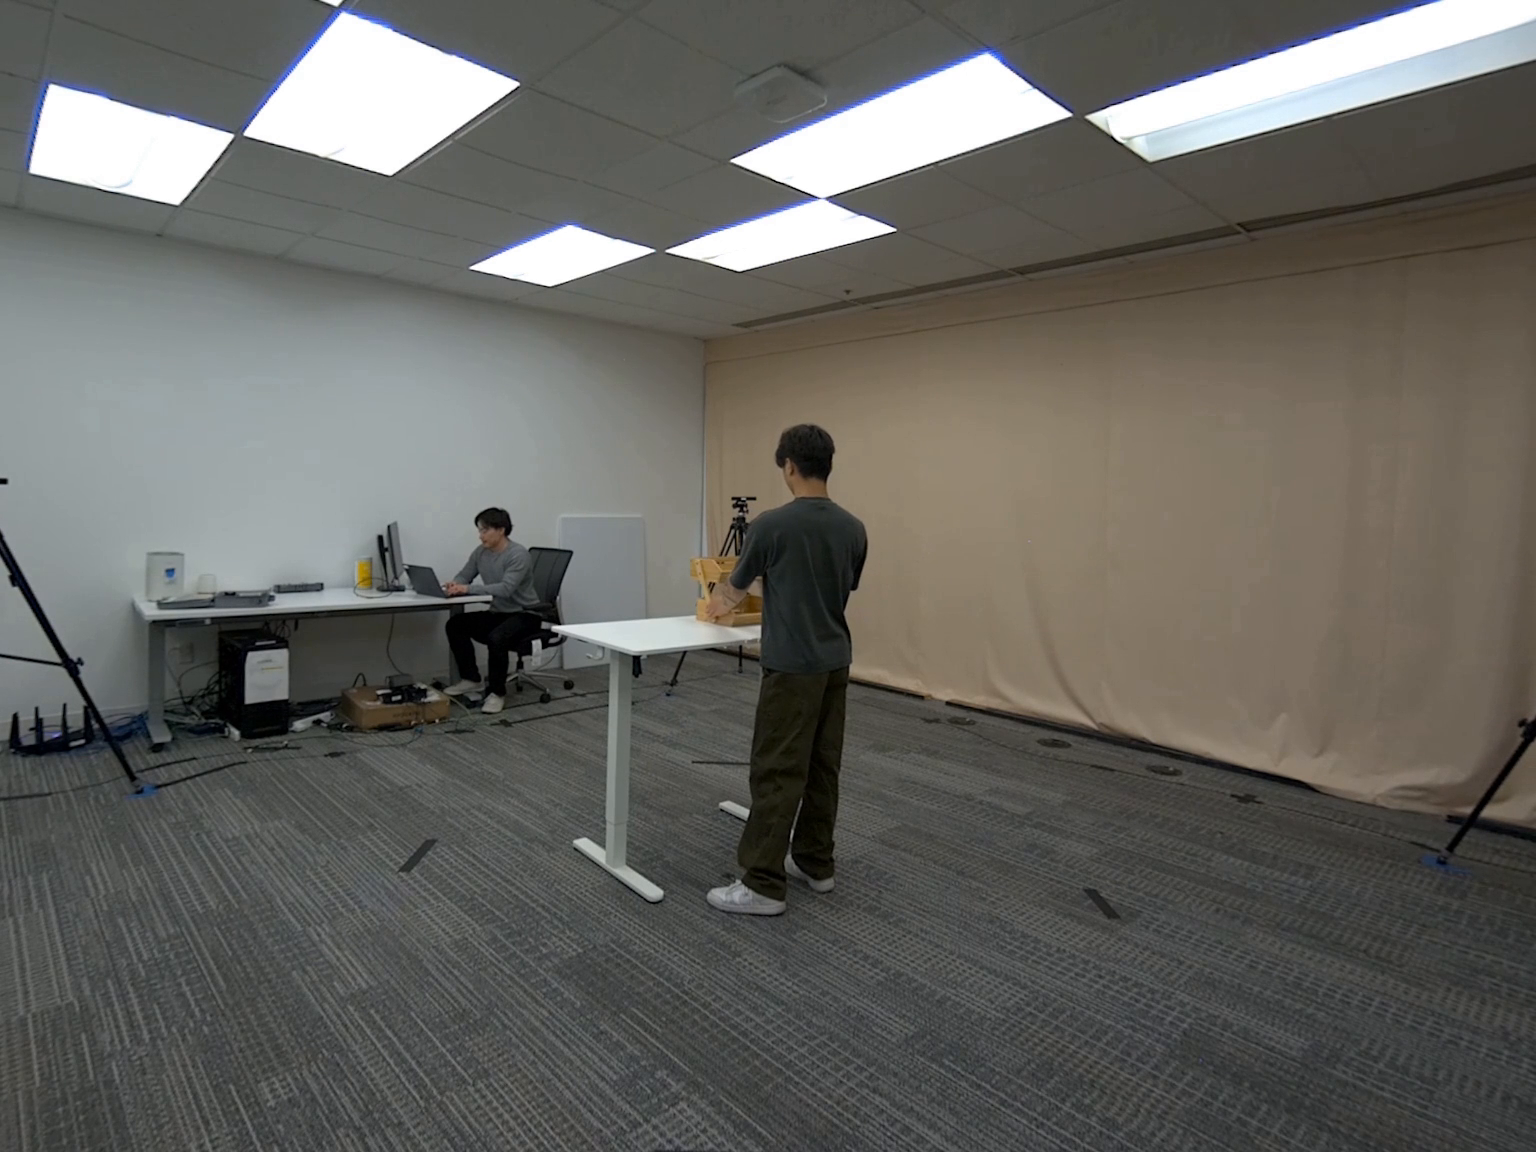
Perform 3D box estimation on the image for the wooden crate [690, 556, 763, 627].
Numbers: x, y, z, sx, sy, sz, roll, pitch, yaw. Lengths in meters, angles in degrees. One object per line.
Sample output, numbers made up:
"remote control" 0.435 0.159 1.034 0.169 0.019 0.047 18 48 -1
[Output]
"wooden crate" -0.131 0.054 3.538 0.317 0.273 0.309 -1 4 -41
